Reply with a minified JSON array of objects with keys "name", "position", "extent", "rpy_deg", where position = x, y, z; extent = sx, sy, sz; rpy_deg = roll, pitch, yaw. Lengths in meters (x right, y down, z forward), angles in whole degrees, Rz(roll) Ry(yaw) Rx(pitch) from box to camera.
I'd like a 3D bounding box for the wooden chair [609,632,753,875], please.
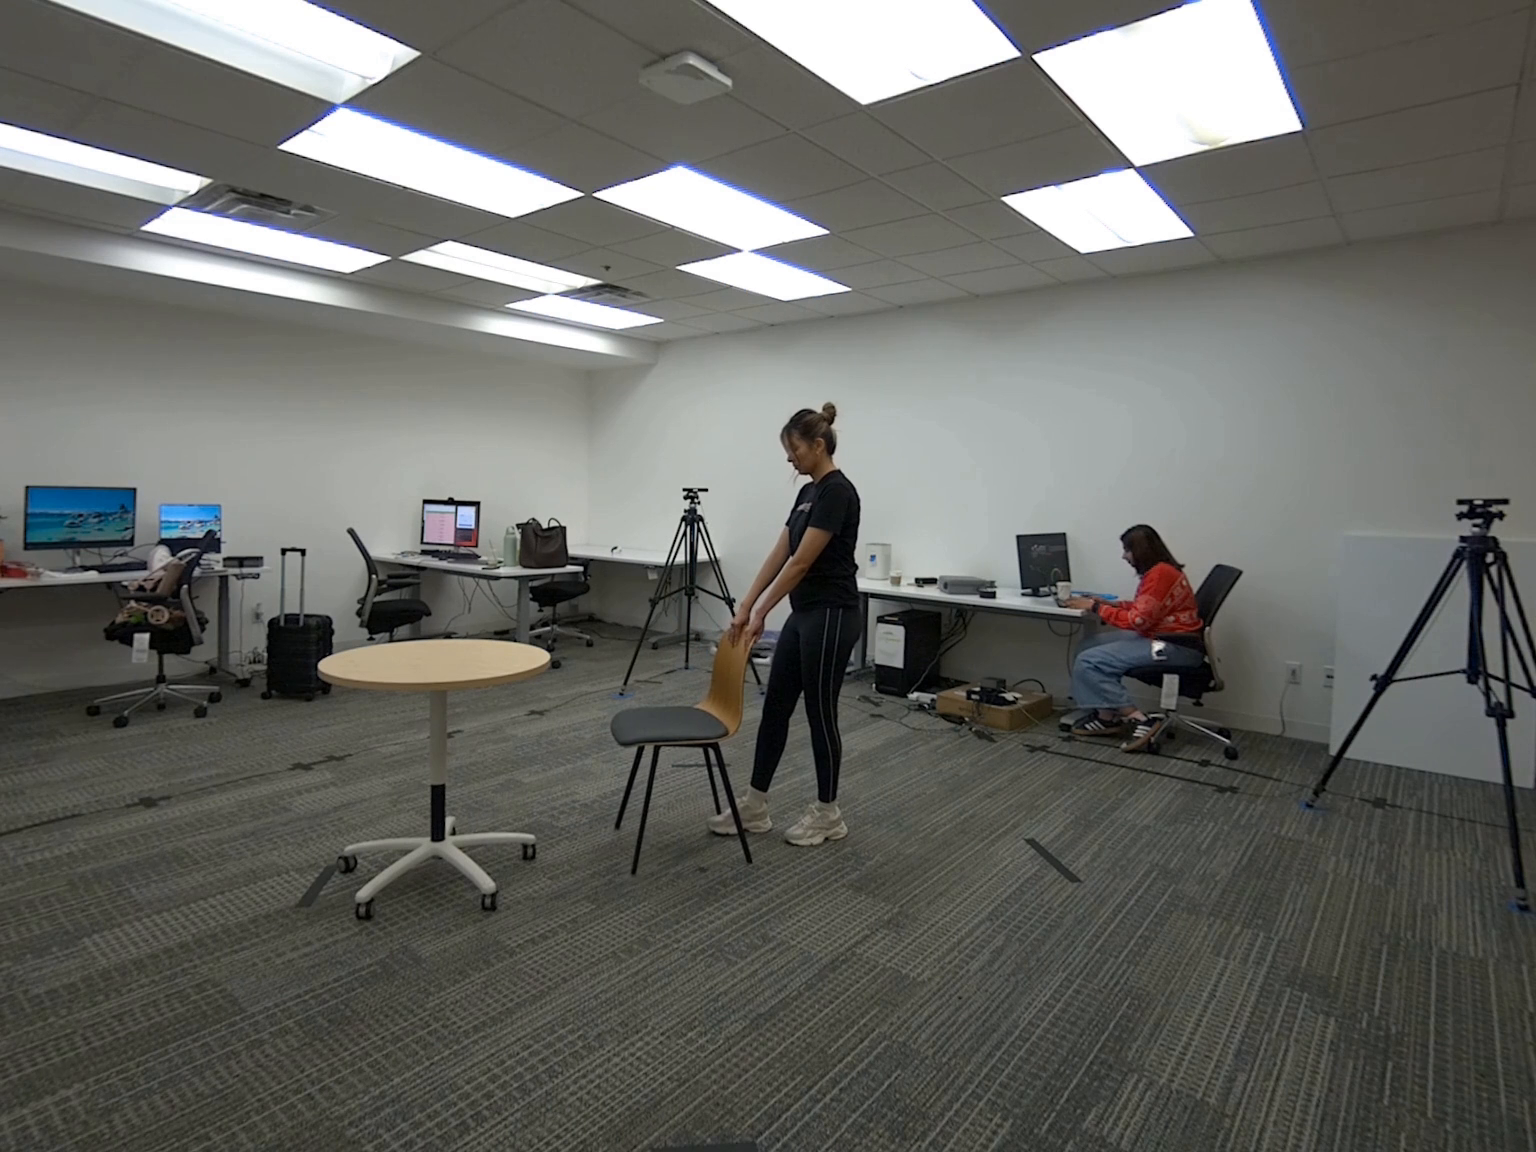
[{"name":"wooden chair","position":[-0.352,0.626,3.284],"extent":[0.514,0.875,0.488],"rpy_deg":[5,3,-17]}]
